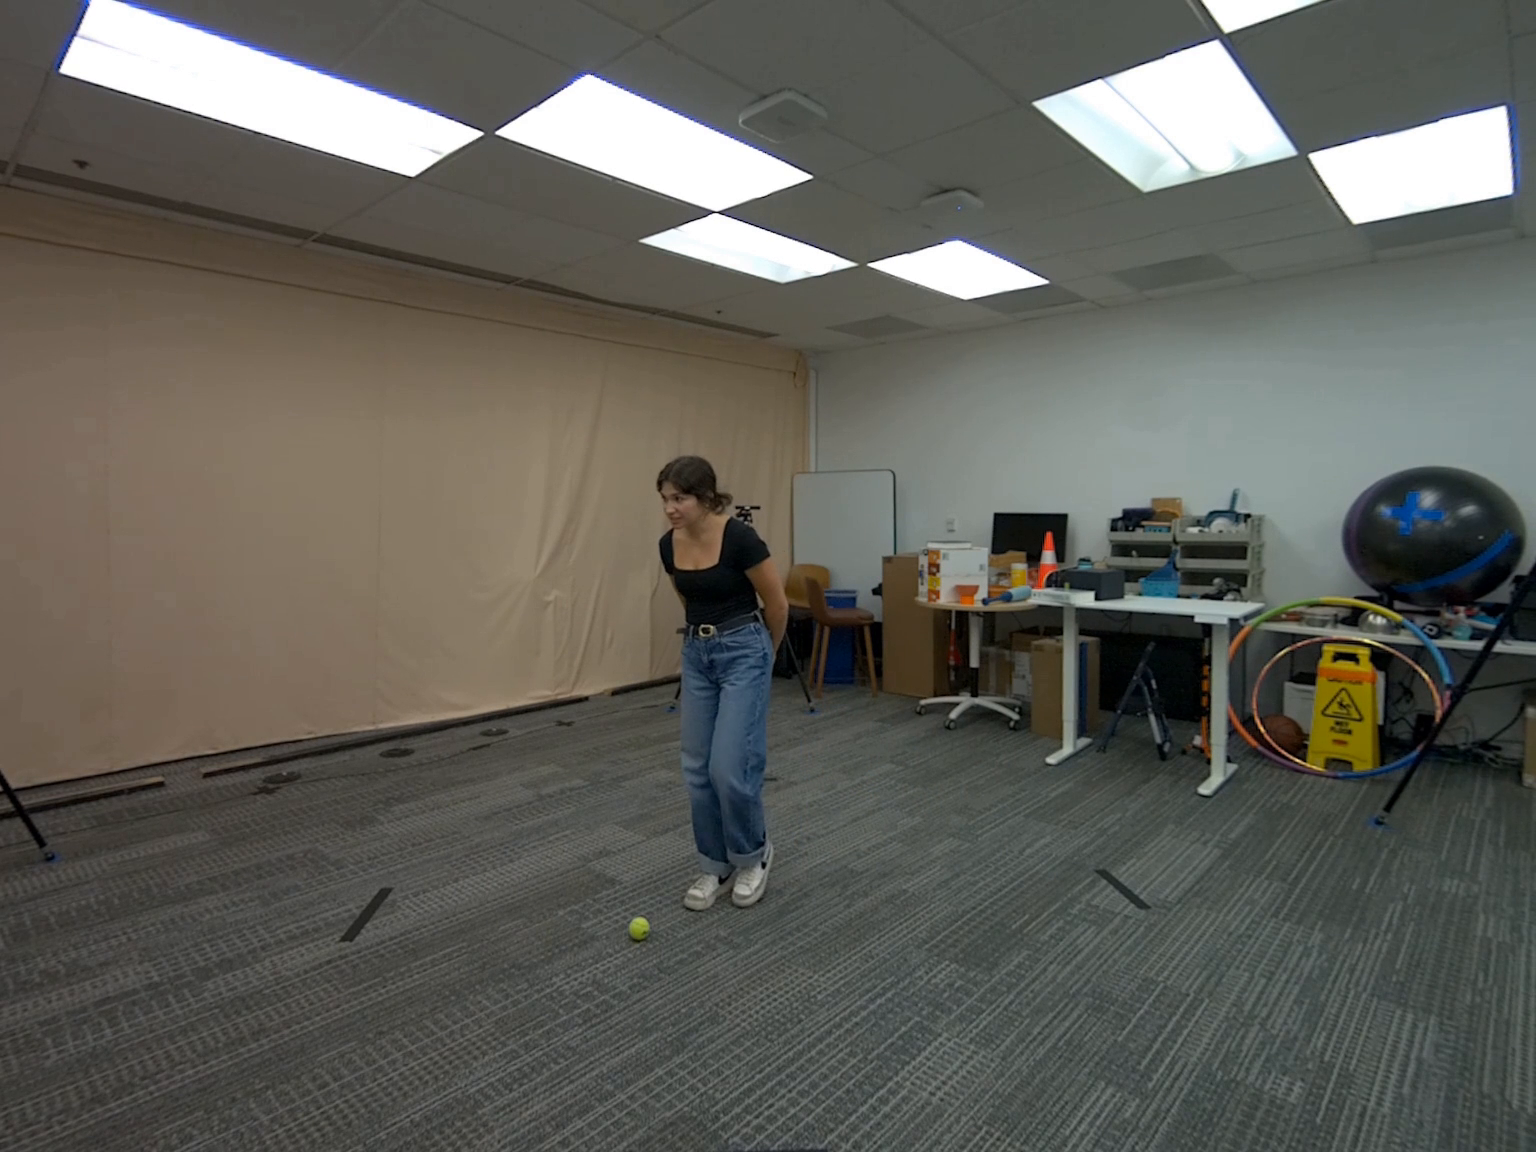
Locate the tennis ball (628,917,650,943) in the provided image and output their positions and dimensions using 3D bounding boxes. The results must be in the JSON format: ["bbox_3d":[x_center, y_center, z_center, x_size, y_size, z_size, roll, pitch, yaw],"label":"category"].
[{"bbox_3d":[-0.416,1.120,2.701,0.066,0.066,0.067,0,4,-2],"label":"tennis ball"}]
